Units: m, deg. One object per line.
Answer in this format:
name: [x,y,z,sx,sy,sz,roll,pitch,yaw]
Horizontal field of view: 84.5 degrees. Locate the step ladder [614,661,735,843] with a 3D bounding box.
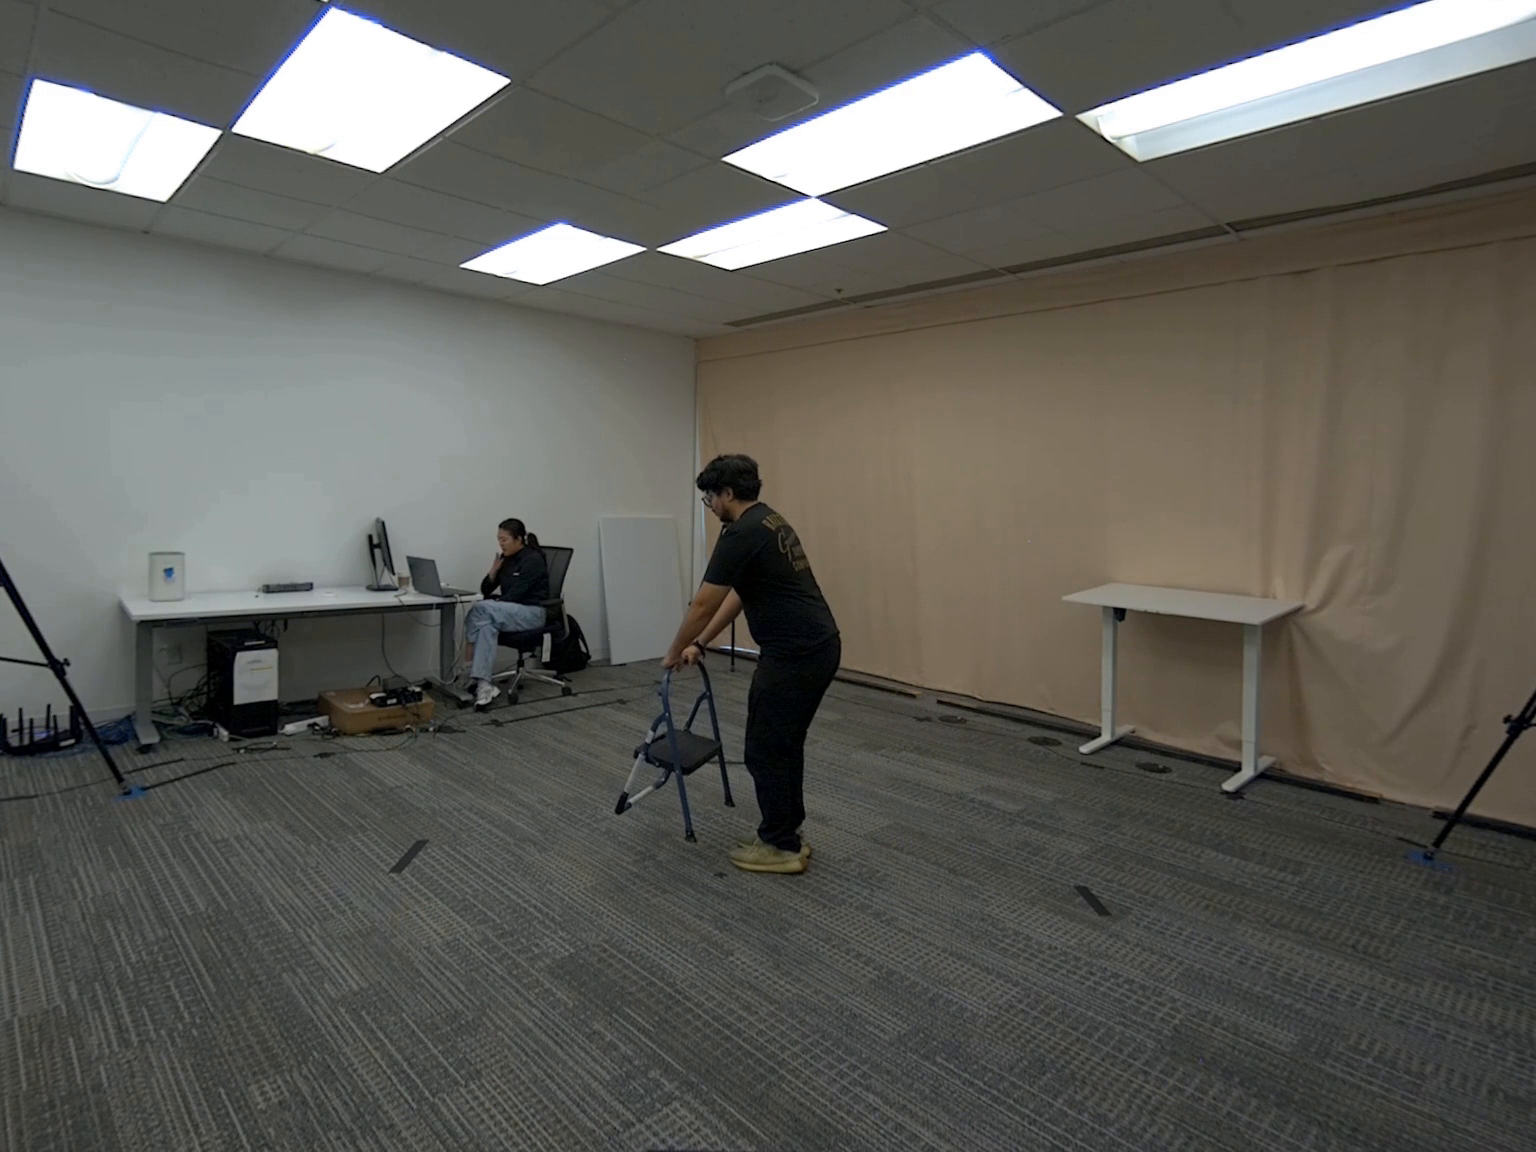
step ladder: [-0.320,0.643,3.343,0.355,0.604,0.424,12,7,19]
